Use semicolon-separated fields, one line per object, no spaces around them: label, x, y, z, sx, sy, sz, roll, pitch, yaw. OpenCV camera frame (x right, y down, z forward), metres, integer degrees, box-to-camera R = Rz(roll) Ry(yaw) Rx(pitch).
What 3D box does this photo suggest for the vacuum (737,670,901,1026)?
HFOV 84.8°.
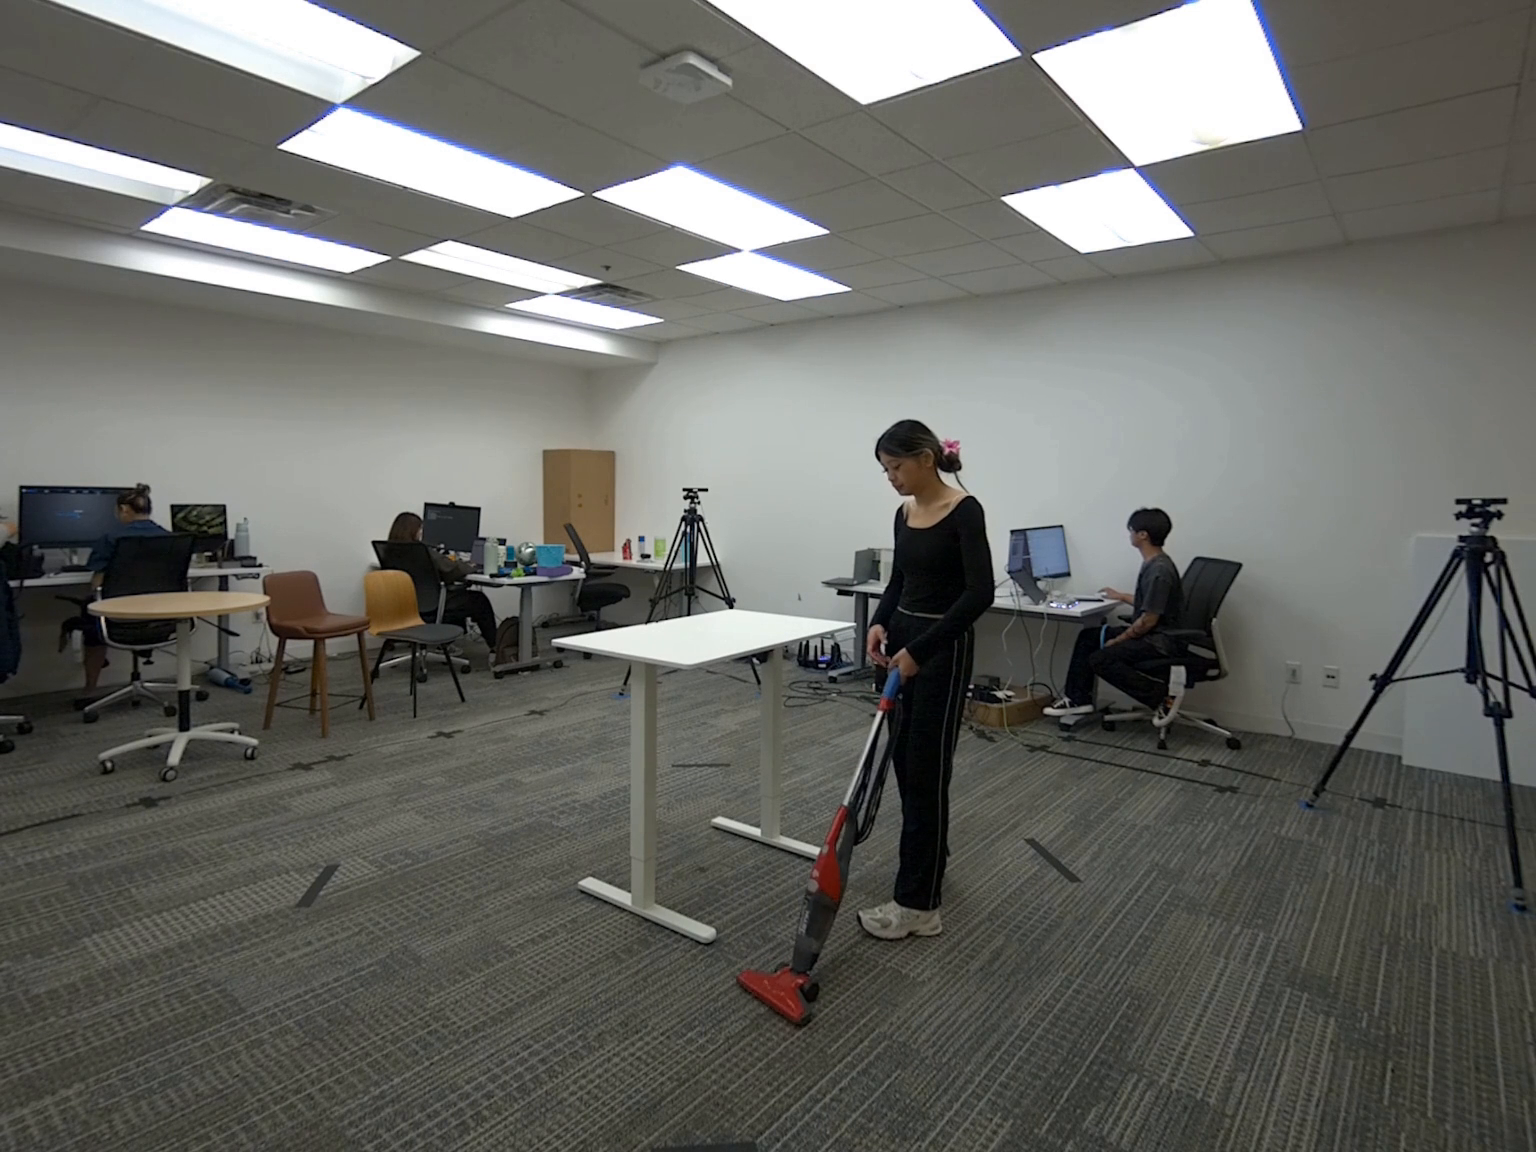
vacuum;0.244;0.703;2.484;0.262;1.056;0.138;11;-23;39
